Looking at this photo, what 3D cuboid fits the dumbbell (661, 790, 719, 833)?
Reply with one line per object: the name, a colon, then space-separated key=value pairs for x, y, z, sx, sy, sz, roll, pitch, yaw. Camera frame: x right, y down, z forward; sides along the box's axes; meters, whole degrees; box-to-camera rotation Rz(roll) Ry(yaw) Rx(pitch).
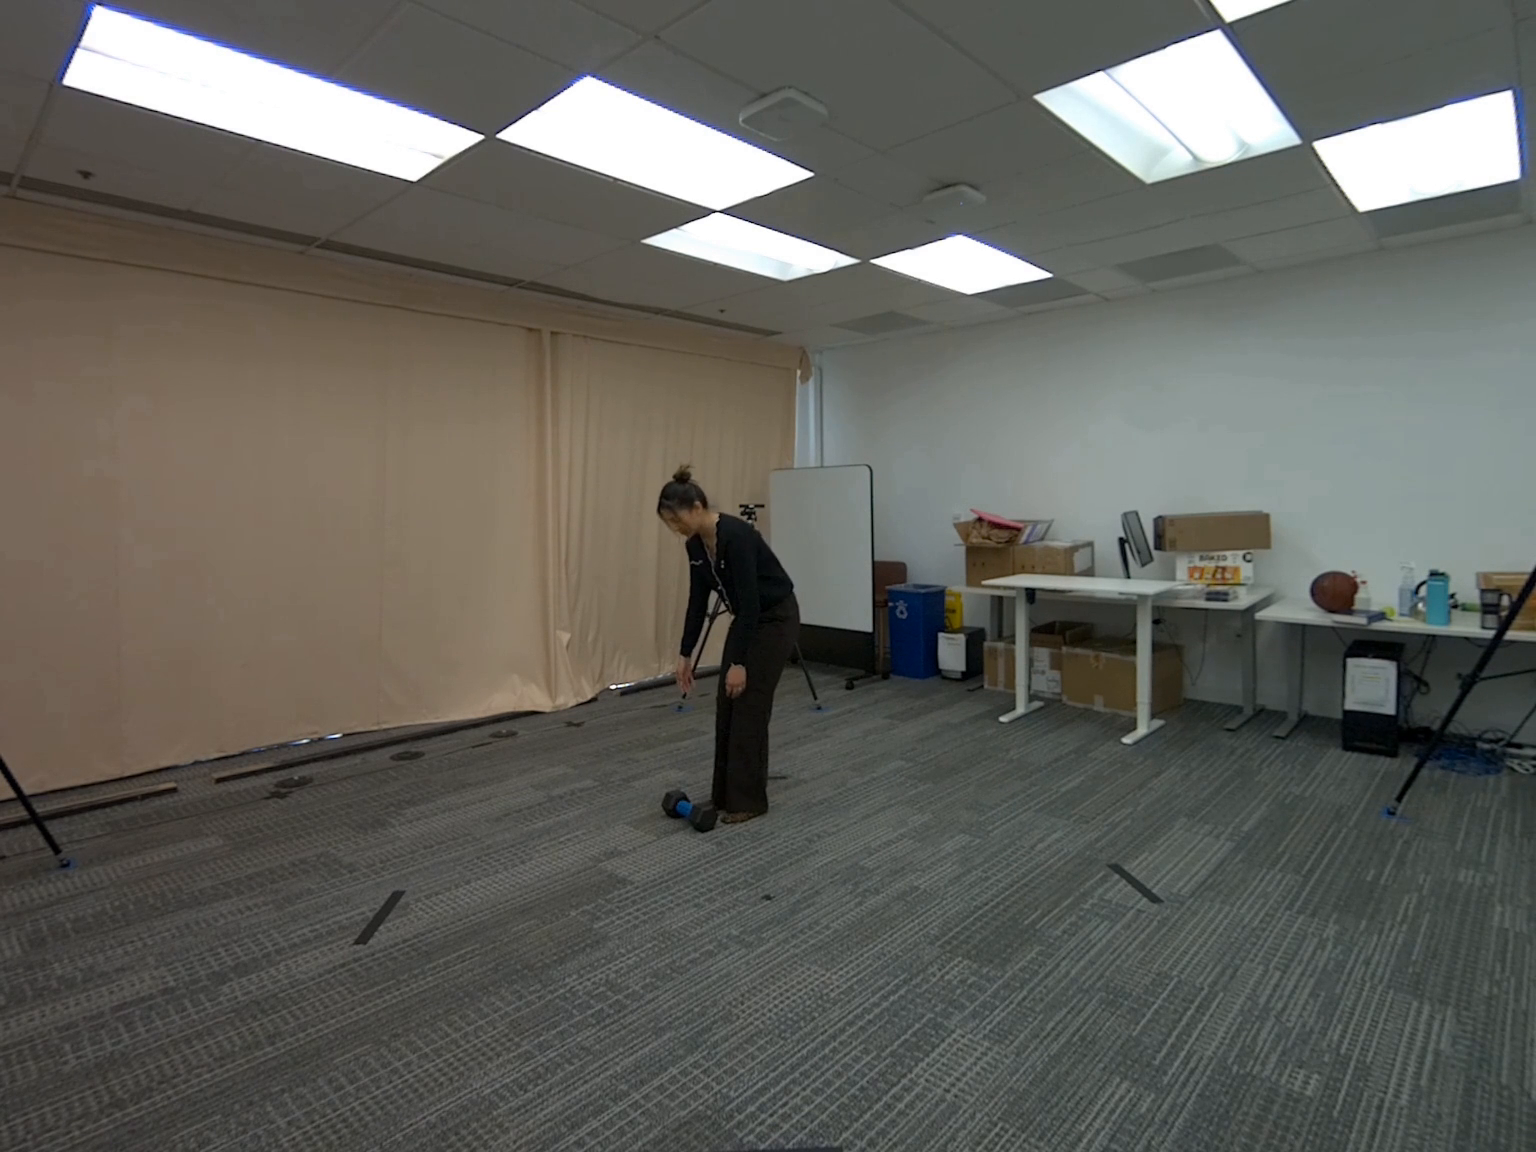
dumbbell: x=-0.345 y=1.030 z=3.705 sx=0.105 sy=0.123 sz=0.303 roll=34 pitch=-18 yaw=-35
